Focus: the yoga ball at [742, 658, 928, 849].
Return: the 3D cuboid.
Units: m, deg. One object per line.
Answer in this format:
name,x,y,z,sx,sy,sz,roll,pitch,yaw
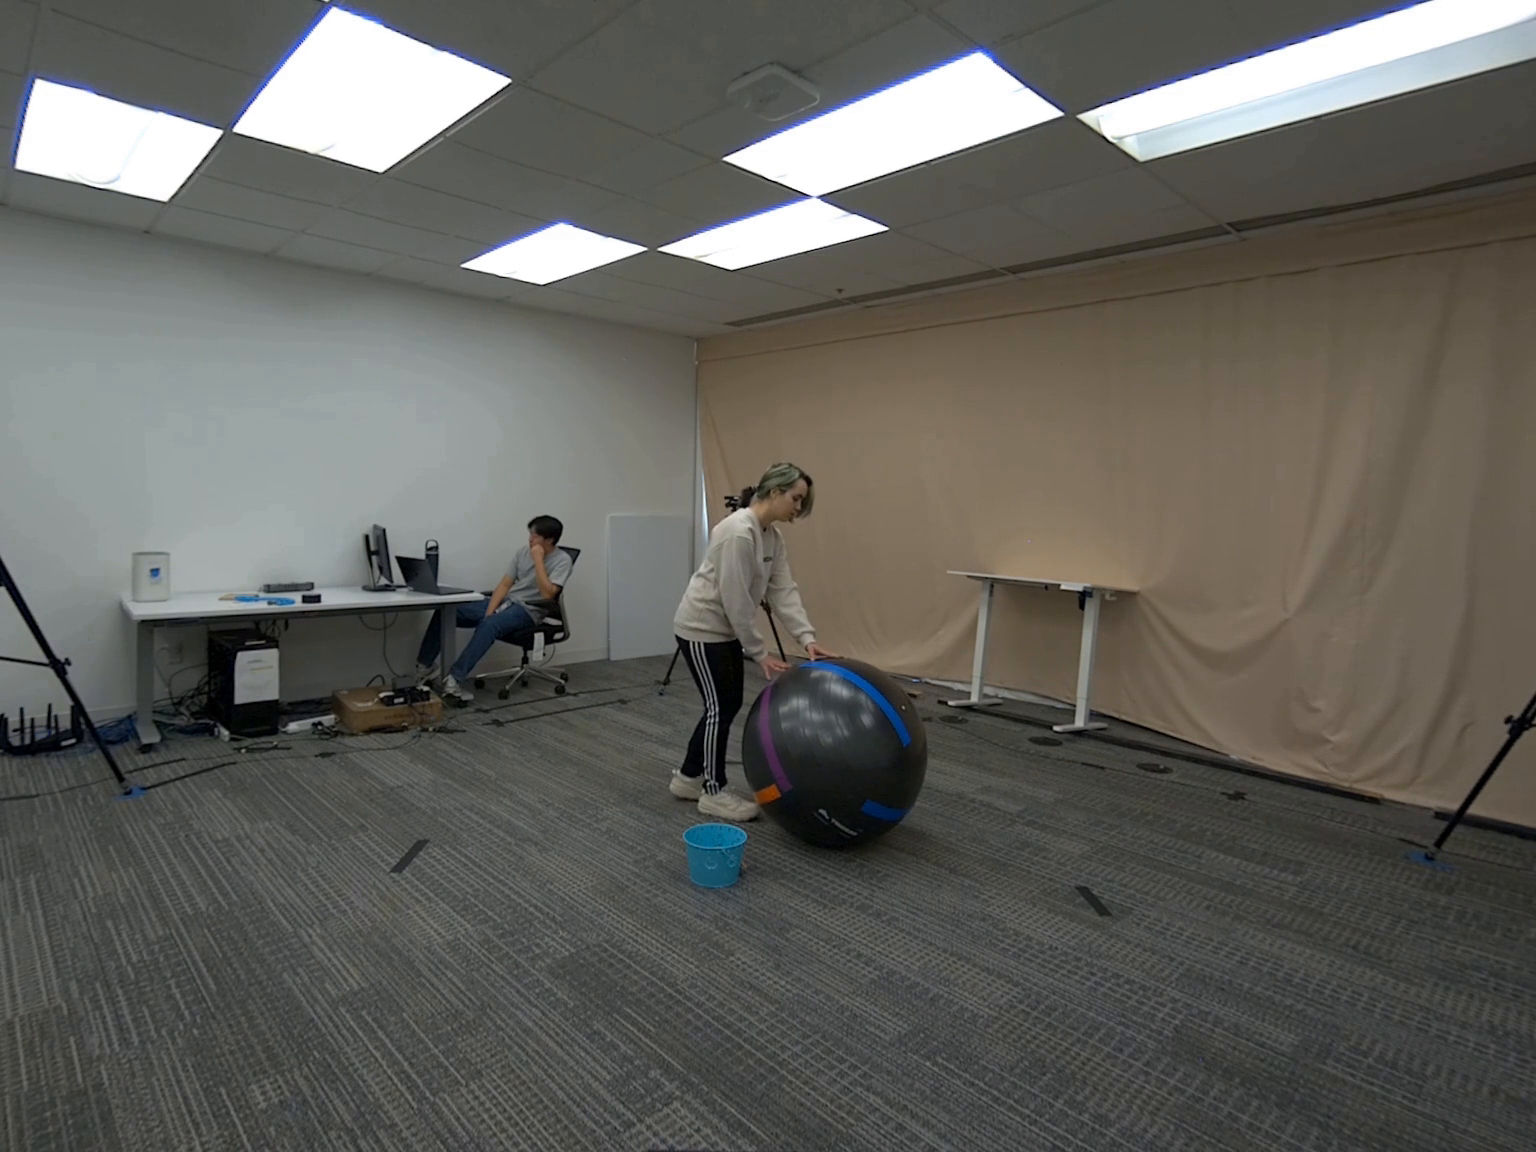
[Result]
yoga ball,0.271,0.724,3.466,0.757,0.756,0.761,1,4,-1
